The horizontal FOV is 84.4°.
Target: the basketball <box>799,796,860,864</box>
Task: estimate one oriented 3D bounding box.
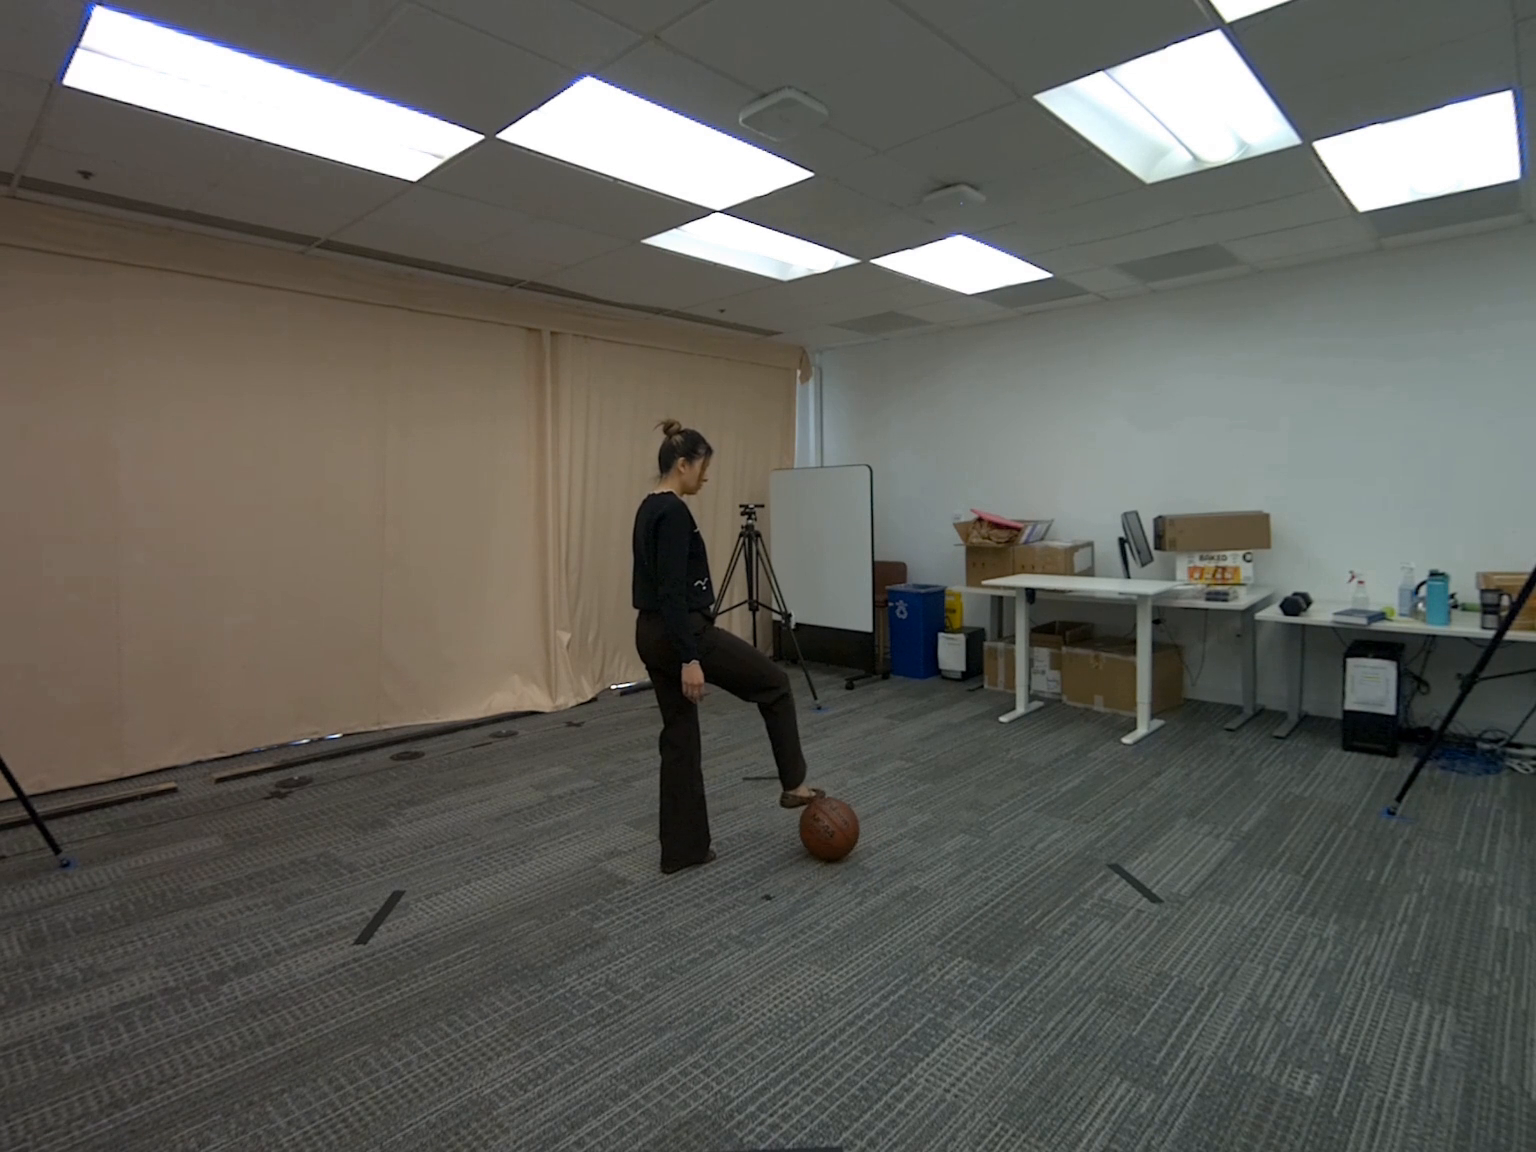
[{"bbox_3d":[0.249,0.987,3.294,0.236,0.235,0.237,-1,4,-2],"label":"basketball"}]
